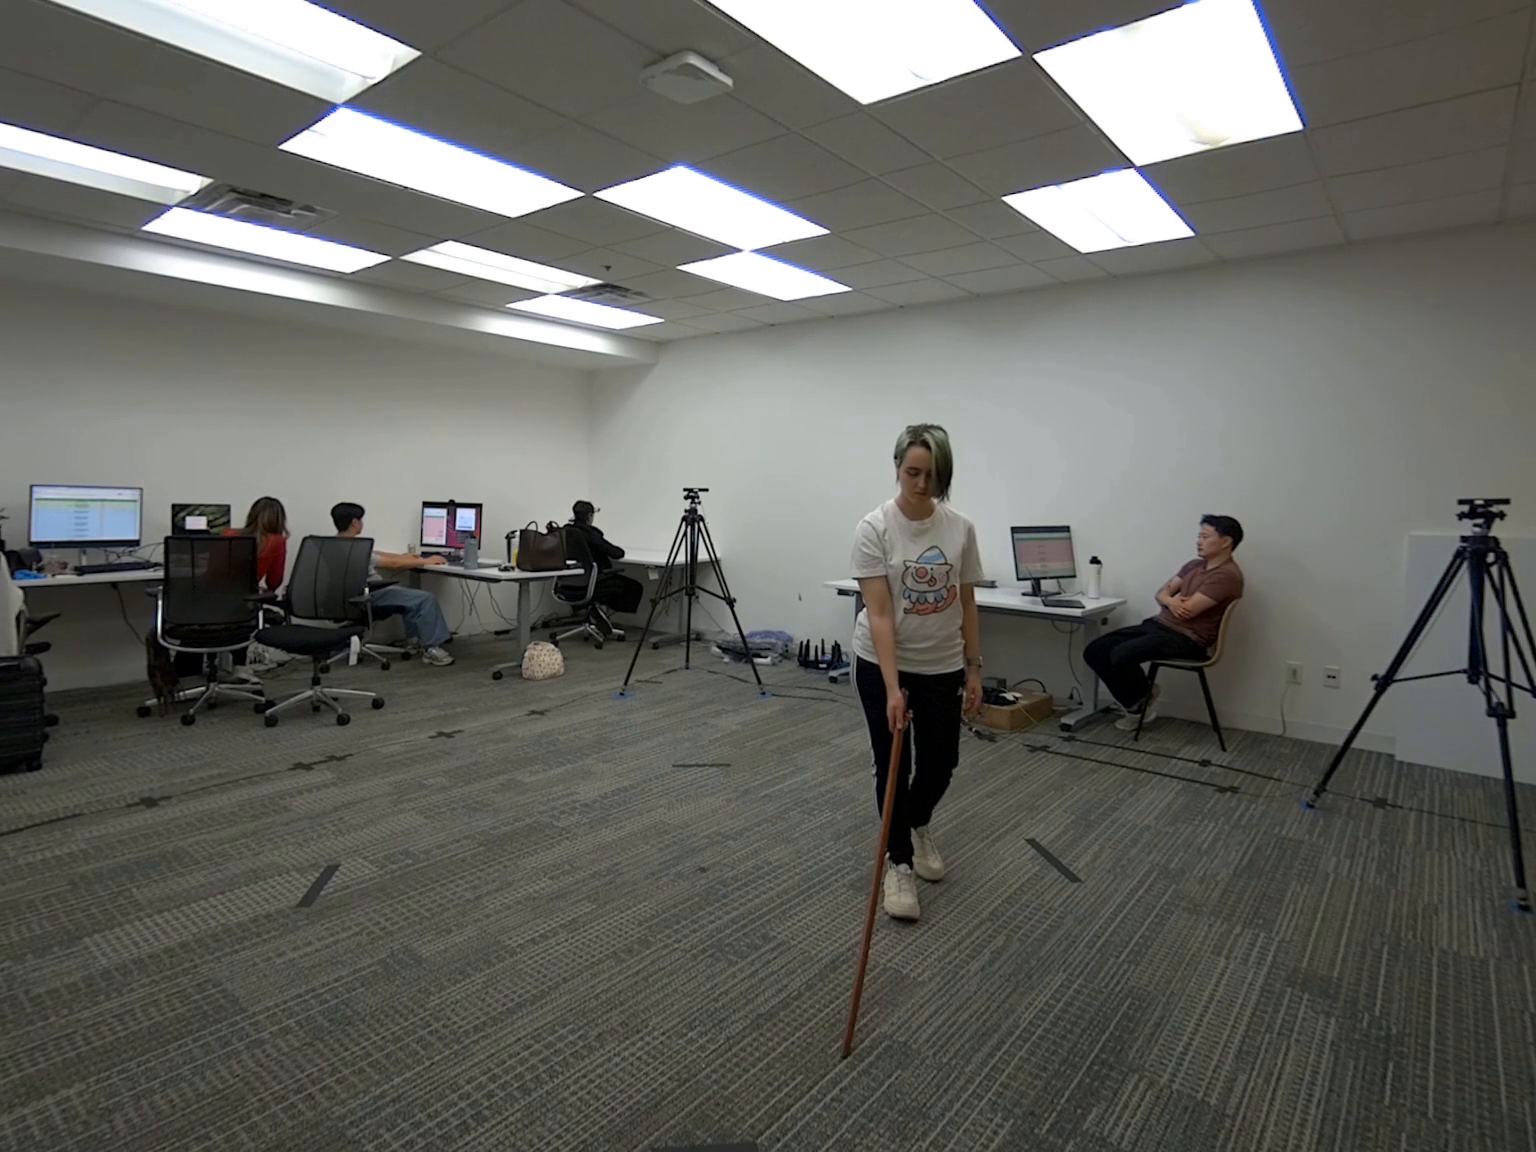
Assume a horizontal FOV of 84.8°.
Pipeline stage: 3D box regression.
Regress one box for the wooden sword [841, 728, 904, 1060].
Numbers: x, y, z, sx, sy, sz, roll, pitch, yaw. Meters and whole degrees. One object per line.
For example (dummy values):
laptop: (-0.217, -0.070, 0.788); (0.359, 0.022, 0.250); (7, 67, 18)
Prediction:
wooden sword: (0.325, 0.780, 2.398); (0.052, 1.040, 0.023); (-1, -39, 25)
